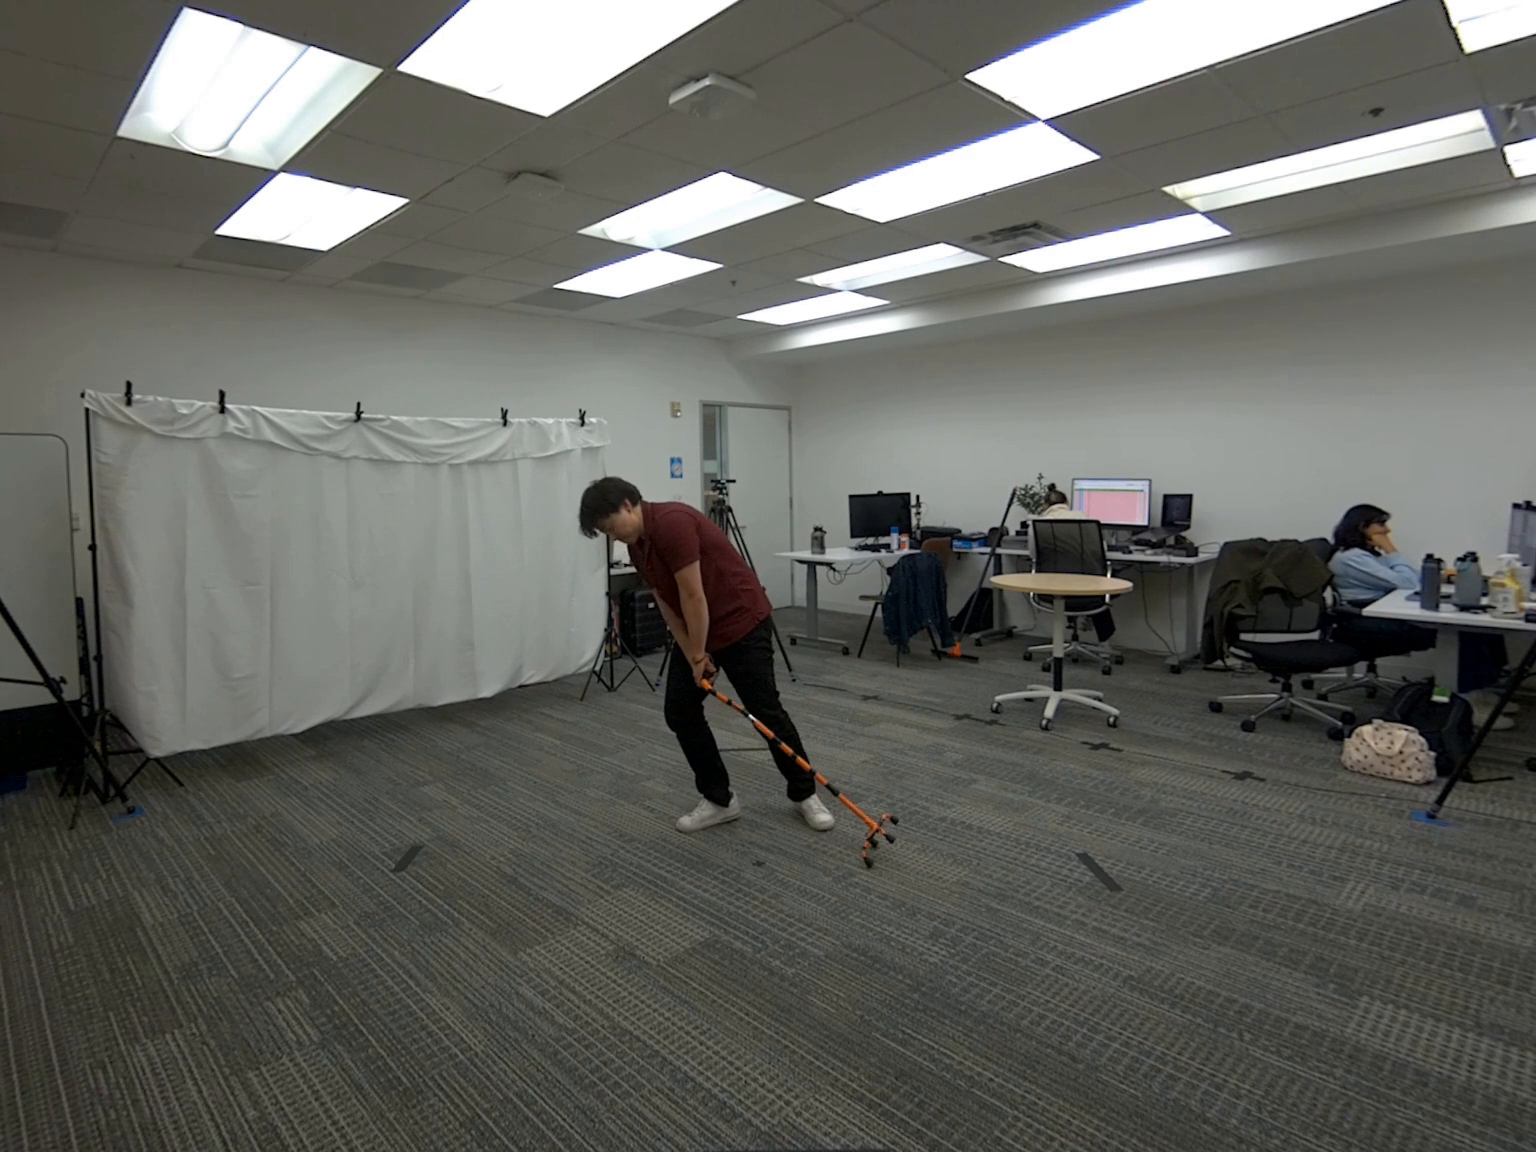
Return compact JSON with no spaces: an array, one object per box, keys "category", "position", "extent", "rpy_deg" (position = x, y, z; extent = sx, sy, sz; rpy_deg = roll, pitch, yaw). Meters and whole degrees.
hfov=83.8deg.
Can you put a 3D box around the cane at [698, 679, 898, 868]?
[{"category":"cane","position":[0.098,0.686,3.211],"extent":[0.921,0.151,0.204],"rpy_deg":[41,12,11]}]
